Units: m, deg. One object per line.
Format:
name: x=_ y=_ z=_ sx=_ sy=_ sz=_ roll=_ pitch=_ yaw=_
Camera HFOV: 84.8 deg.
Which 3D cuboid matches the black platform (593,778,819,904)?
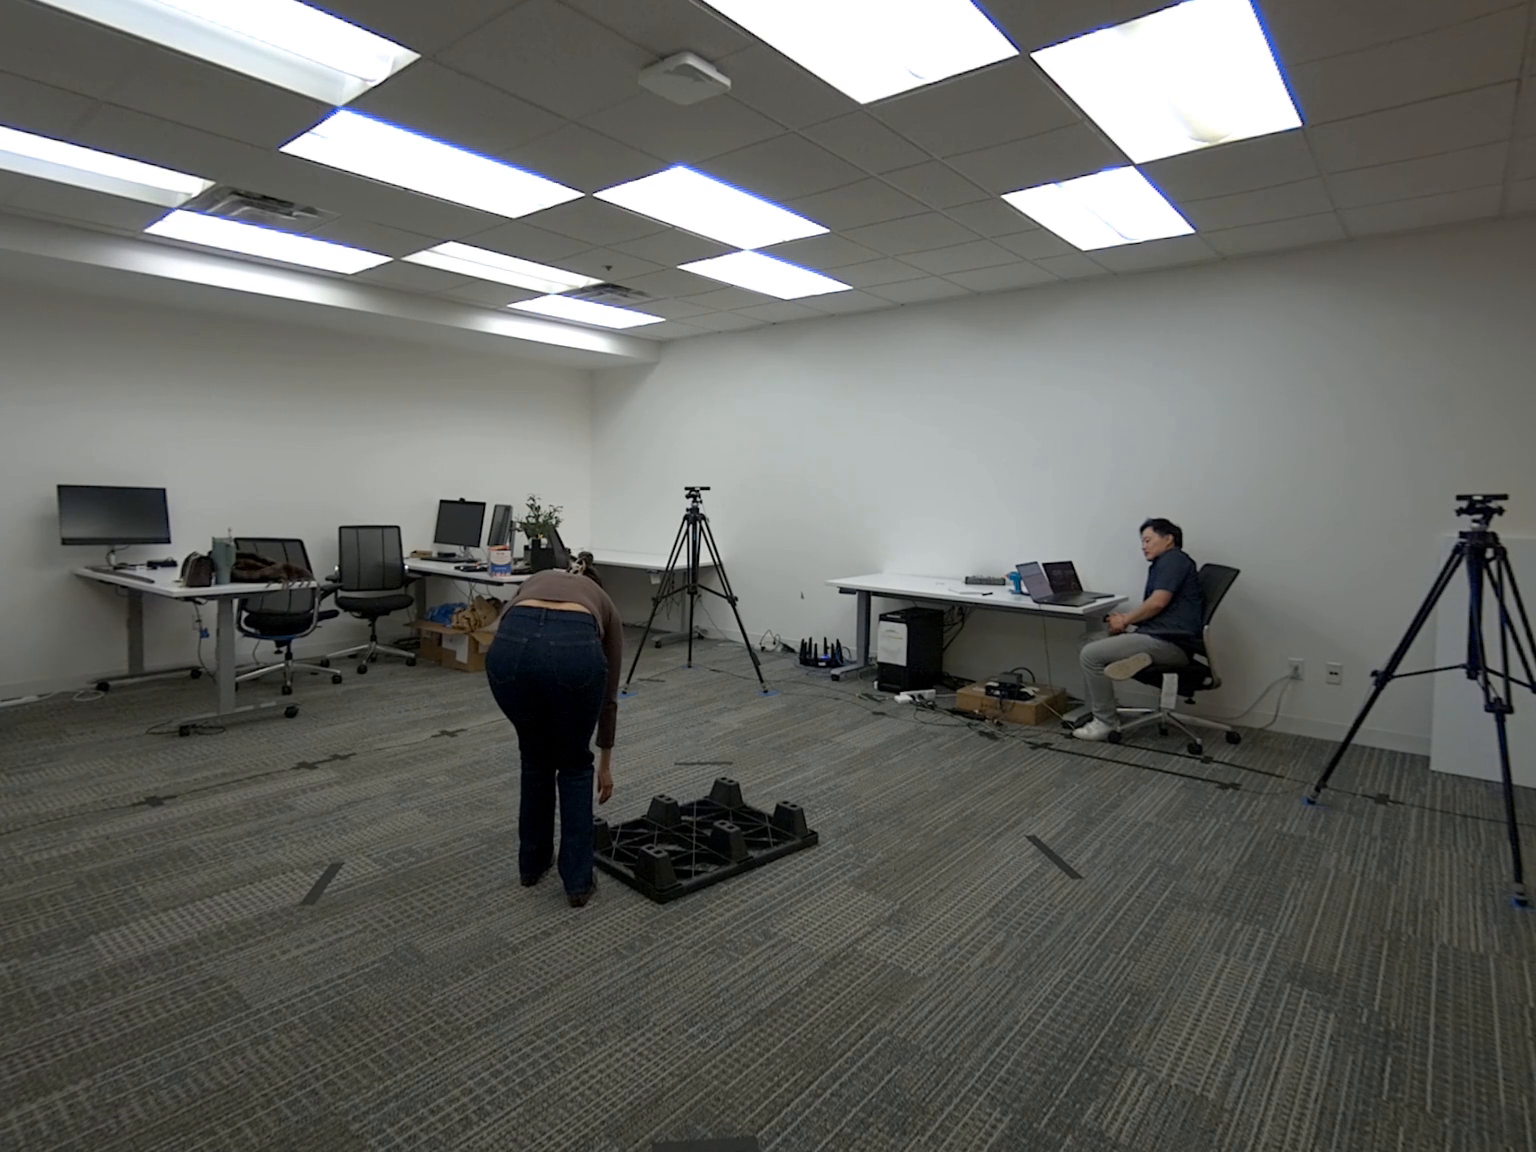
black platform: x=-0.293 y=0.978 z=3.295 sx=0.782 sy=0.143 sz=0.626 roll=-5 pitch=8 yaw=-44
